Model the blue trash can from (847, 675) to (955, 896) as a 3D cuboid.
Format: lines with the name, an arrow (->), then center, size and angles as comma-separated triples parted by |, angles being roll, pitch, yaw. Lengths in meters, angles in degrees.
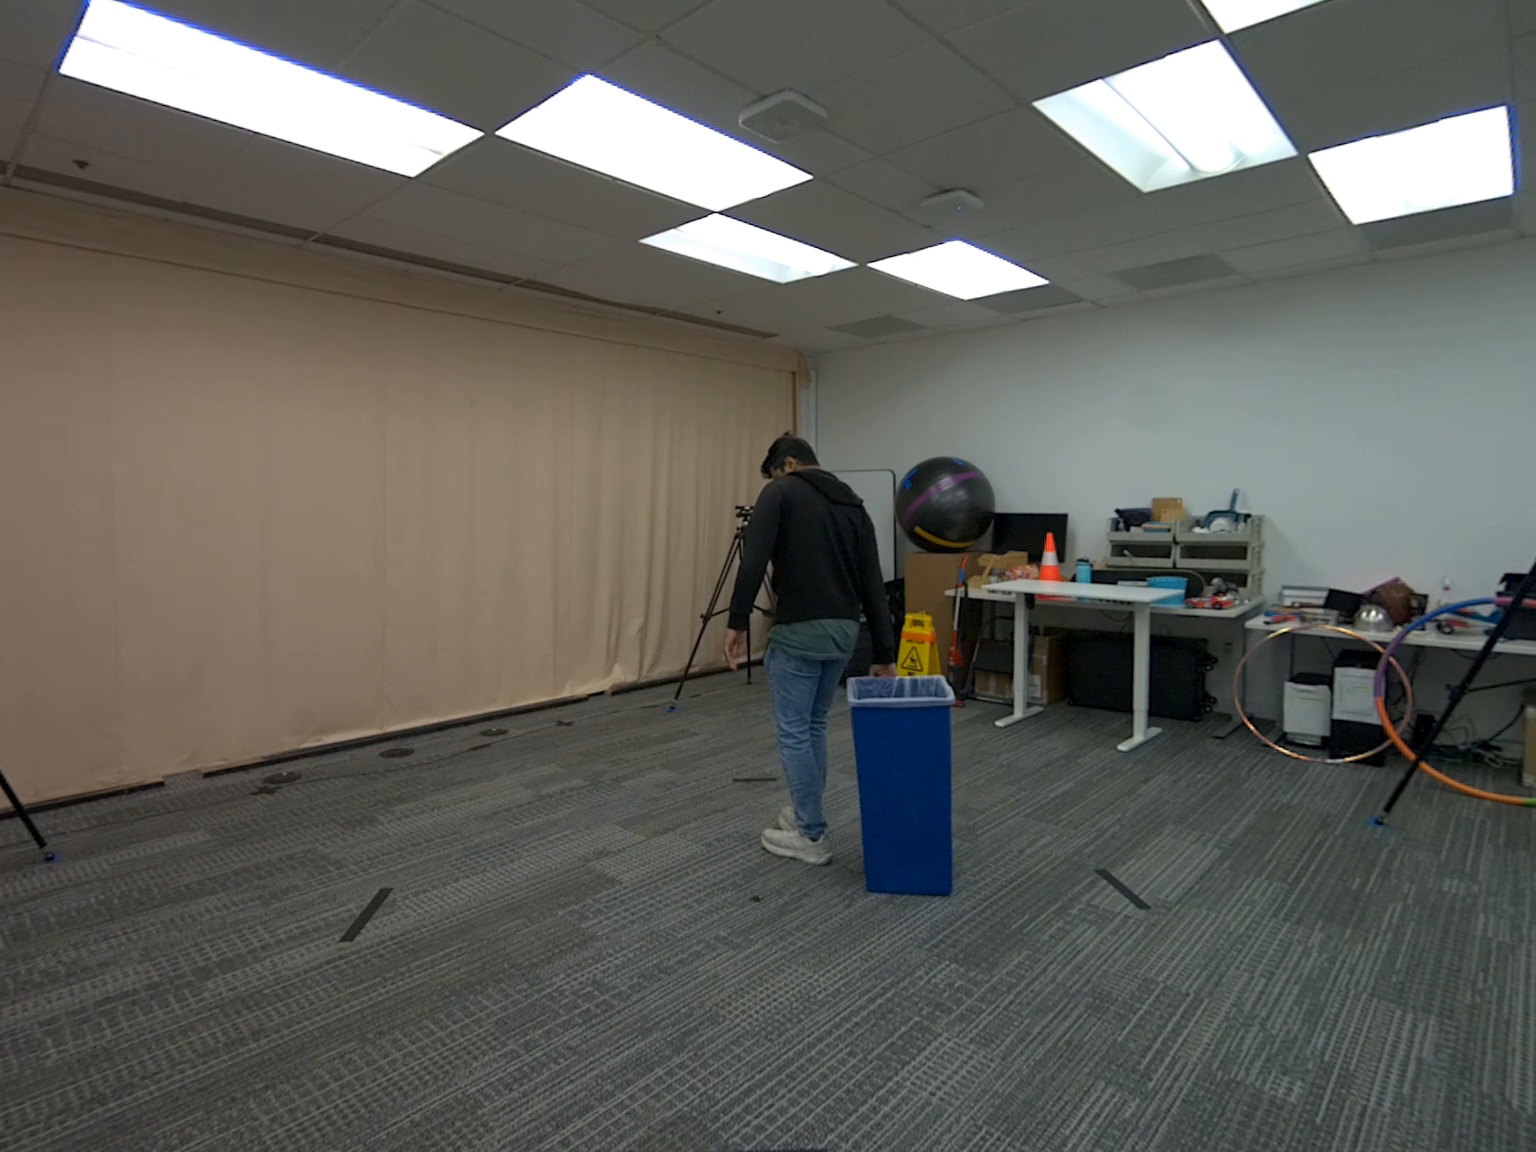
blue trash can -> 0.498, 0.764, 3.127 | 0.377, 0.712, 0.376 | -2, 4, 7
